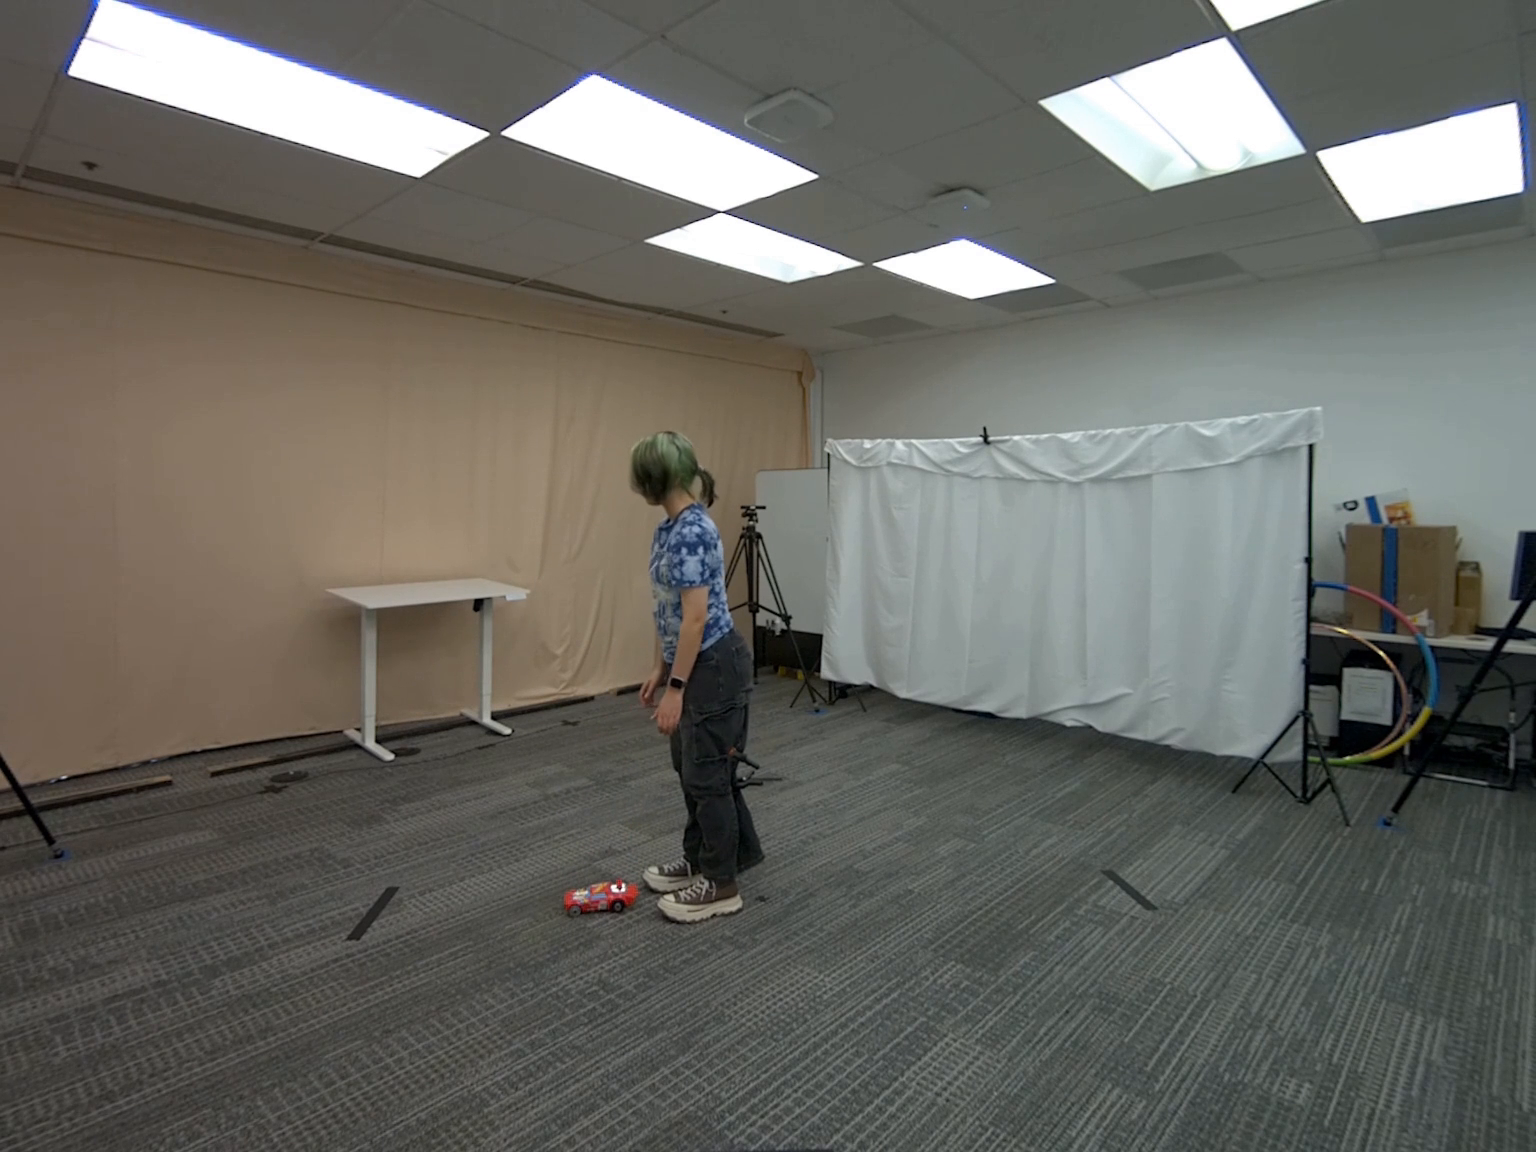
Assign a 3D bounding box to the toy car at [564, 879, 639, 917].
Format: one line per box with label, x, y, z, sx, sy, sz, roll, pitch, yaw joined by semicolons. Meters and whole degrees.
toy car;-0.577;1.123;2.926;0.252;0.083;0.132;-12;5;-10
